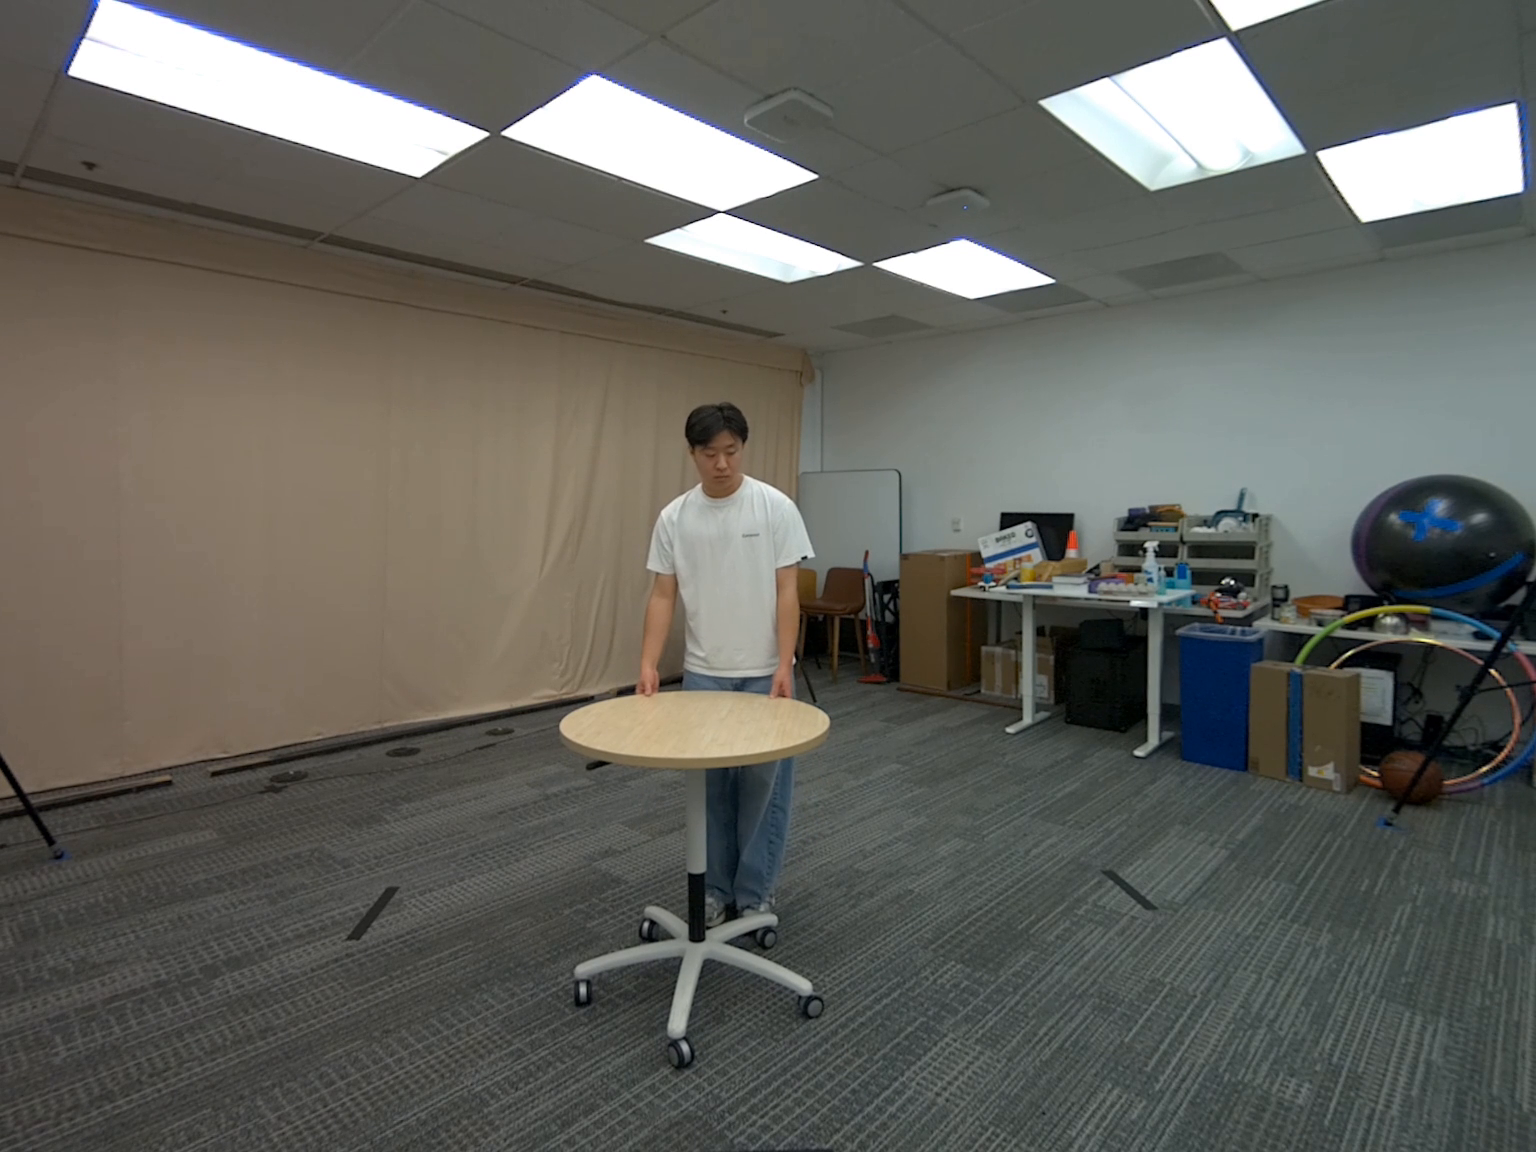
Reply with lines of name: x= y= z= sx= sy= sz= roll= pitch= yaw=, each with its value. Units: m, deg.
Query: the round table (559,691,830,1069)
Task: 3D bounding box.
round table: x=-0.203 y=0.802 z=2.426 sx=0.763 sy=0.792 sz=0.766 roll=-1 pitch=3 yaw=-2
